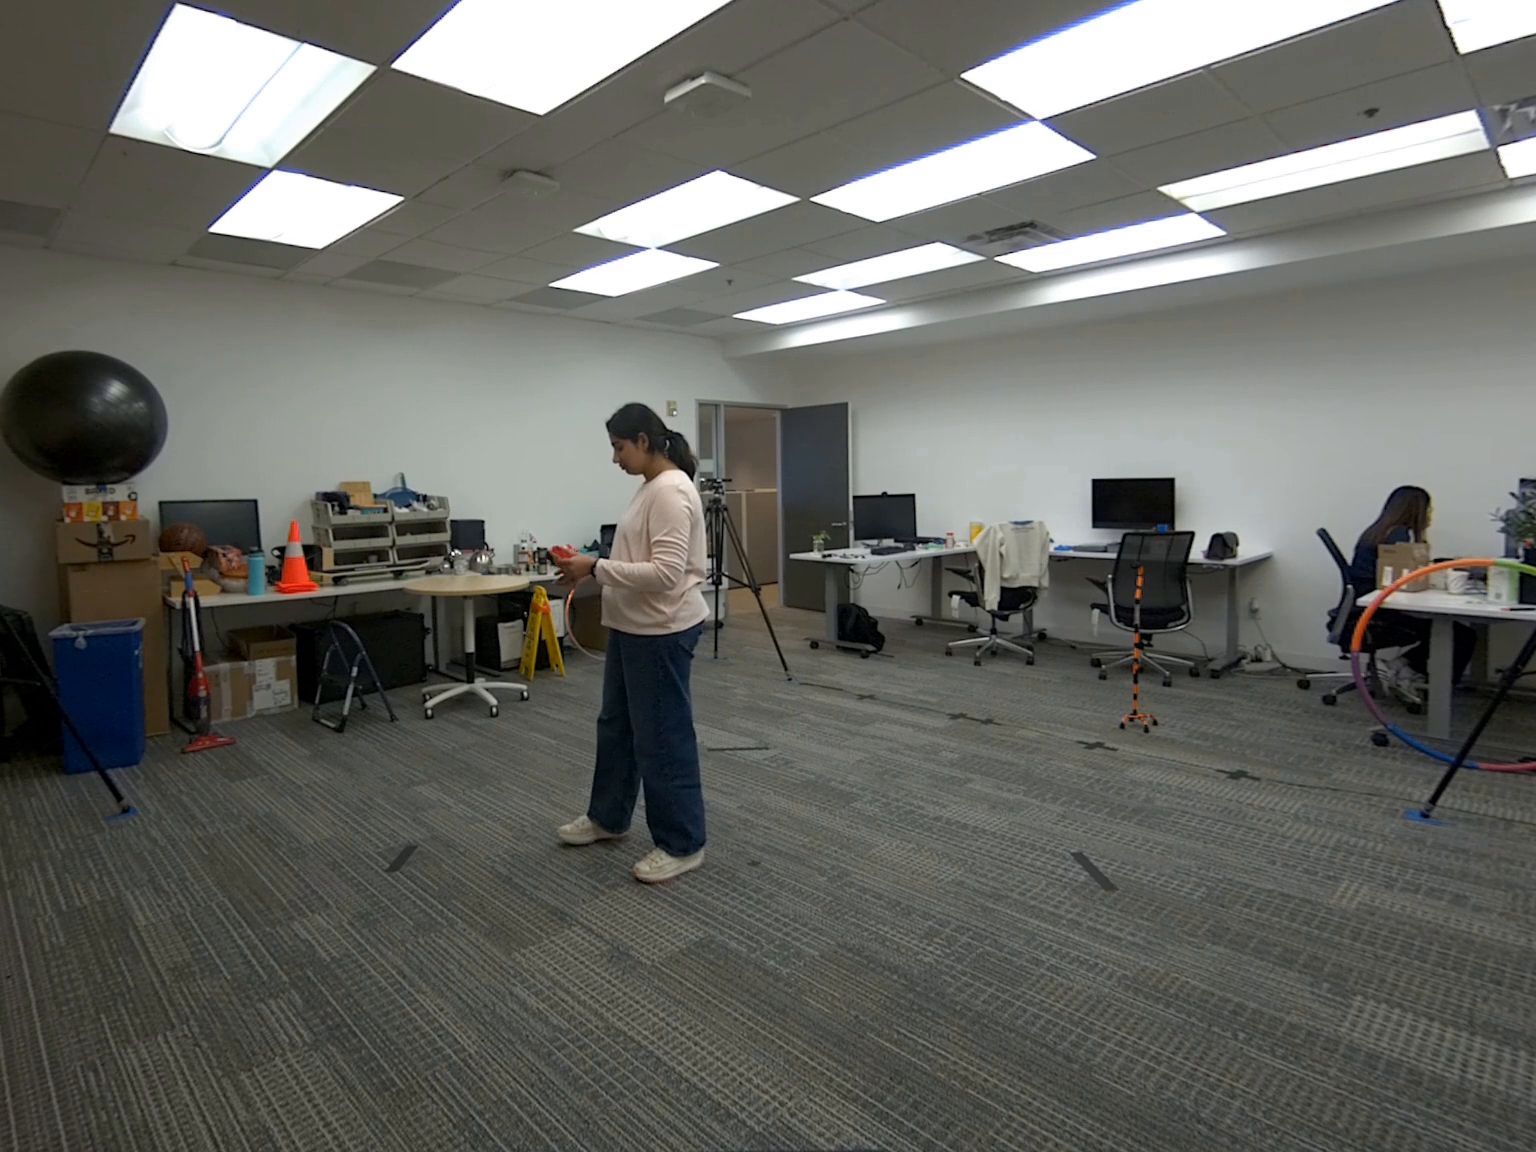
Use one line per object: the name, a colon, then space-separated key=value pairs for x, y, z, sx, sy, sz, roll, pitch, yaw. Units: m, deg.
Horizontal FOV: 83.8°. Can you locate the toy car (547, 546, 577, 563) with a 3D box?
toy car: x=-0.705 y=-0.053 z=2.977 sx=0.131 sy=0.083 sz=0.253 roll=36 pitch=-23 yaw=1
